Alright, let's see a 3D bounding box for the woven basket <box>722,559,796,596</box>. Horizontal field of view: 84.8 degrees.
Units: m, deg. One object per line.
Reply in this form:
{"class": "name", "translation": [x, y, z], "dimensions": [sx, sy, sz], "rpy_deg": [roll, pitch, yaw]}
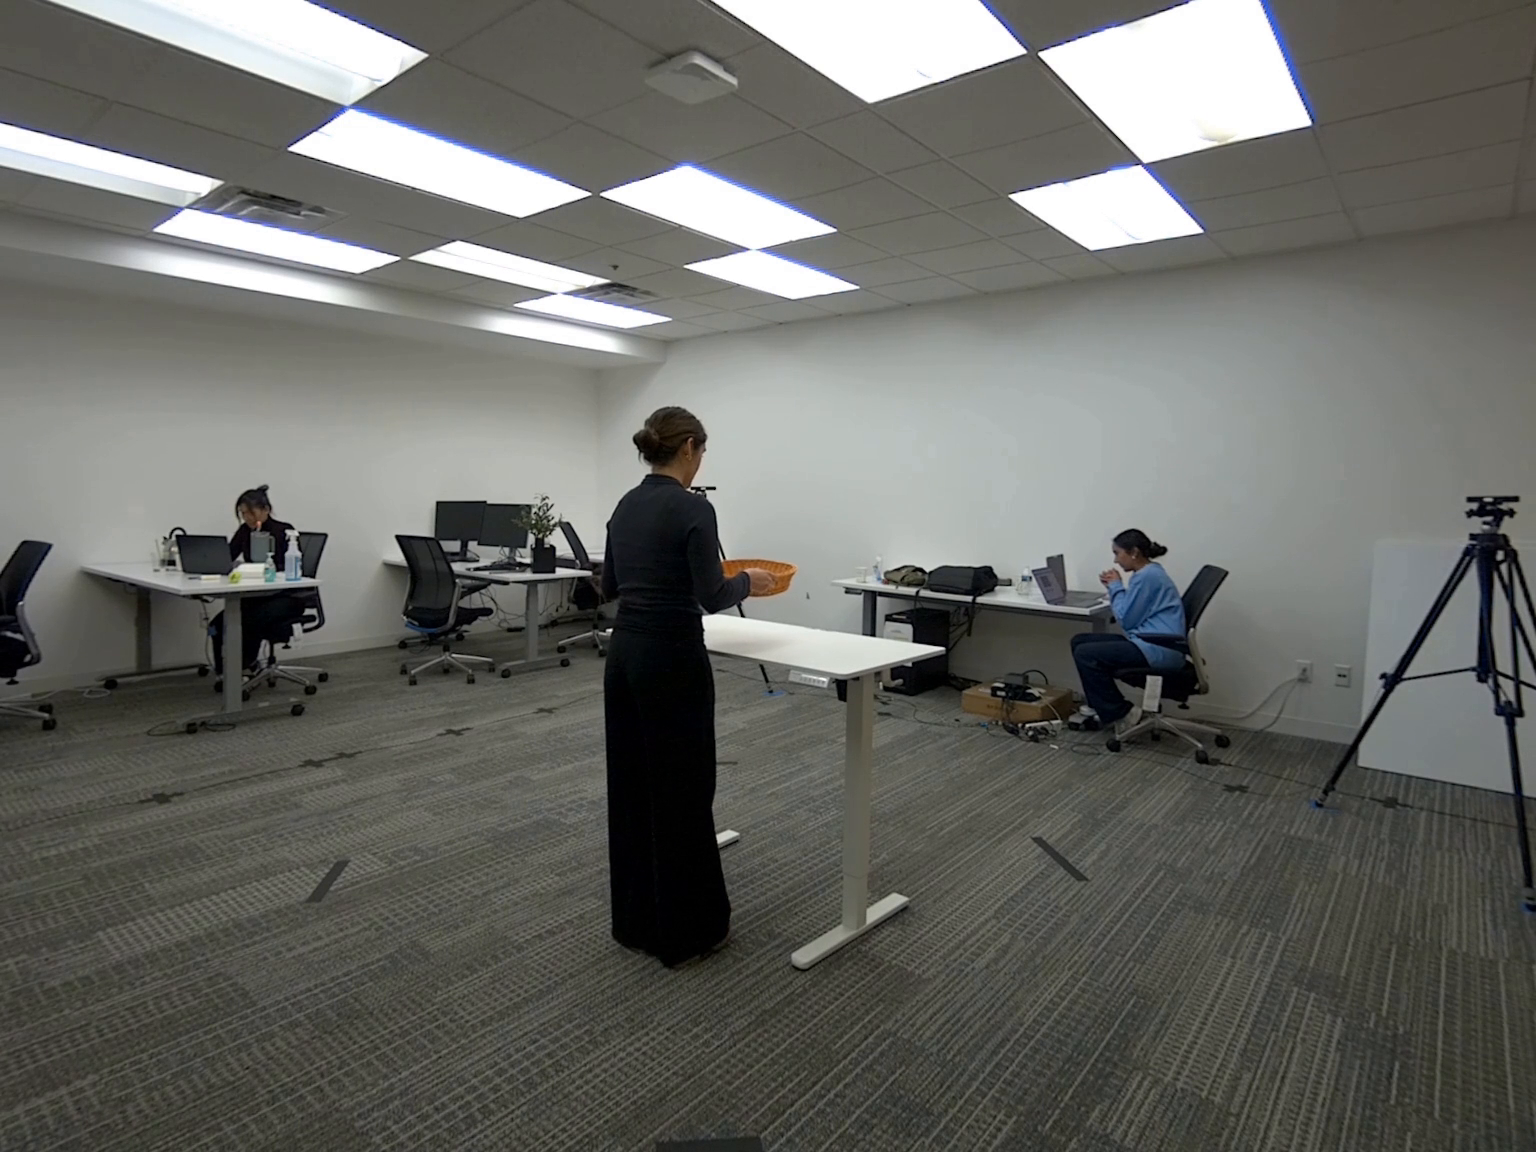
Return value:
{"class": "woven basket", "translation": [-0.098, 0.012, 2.791], "dimensions": [0.246, 0.073, 0.363], "rpy_deg": [-11, 14, -37]}
